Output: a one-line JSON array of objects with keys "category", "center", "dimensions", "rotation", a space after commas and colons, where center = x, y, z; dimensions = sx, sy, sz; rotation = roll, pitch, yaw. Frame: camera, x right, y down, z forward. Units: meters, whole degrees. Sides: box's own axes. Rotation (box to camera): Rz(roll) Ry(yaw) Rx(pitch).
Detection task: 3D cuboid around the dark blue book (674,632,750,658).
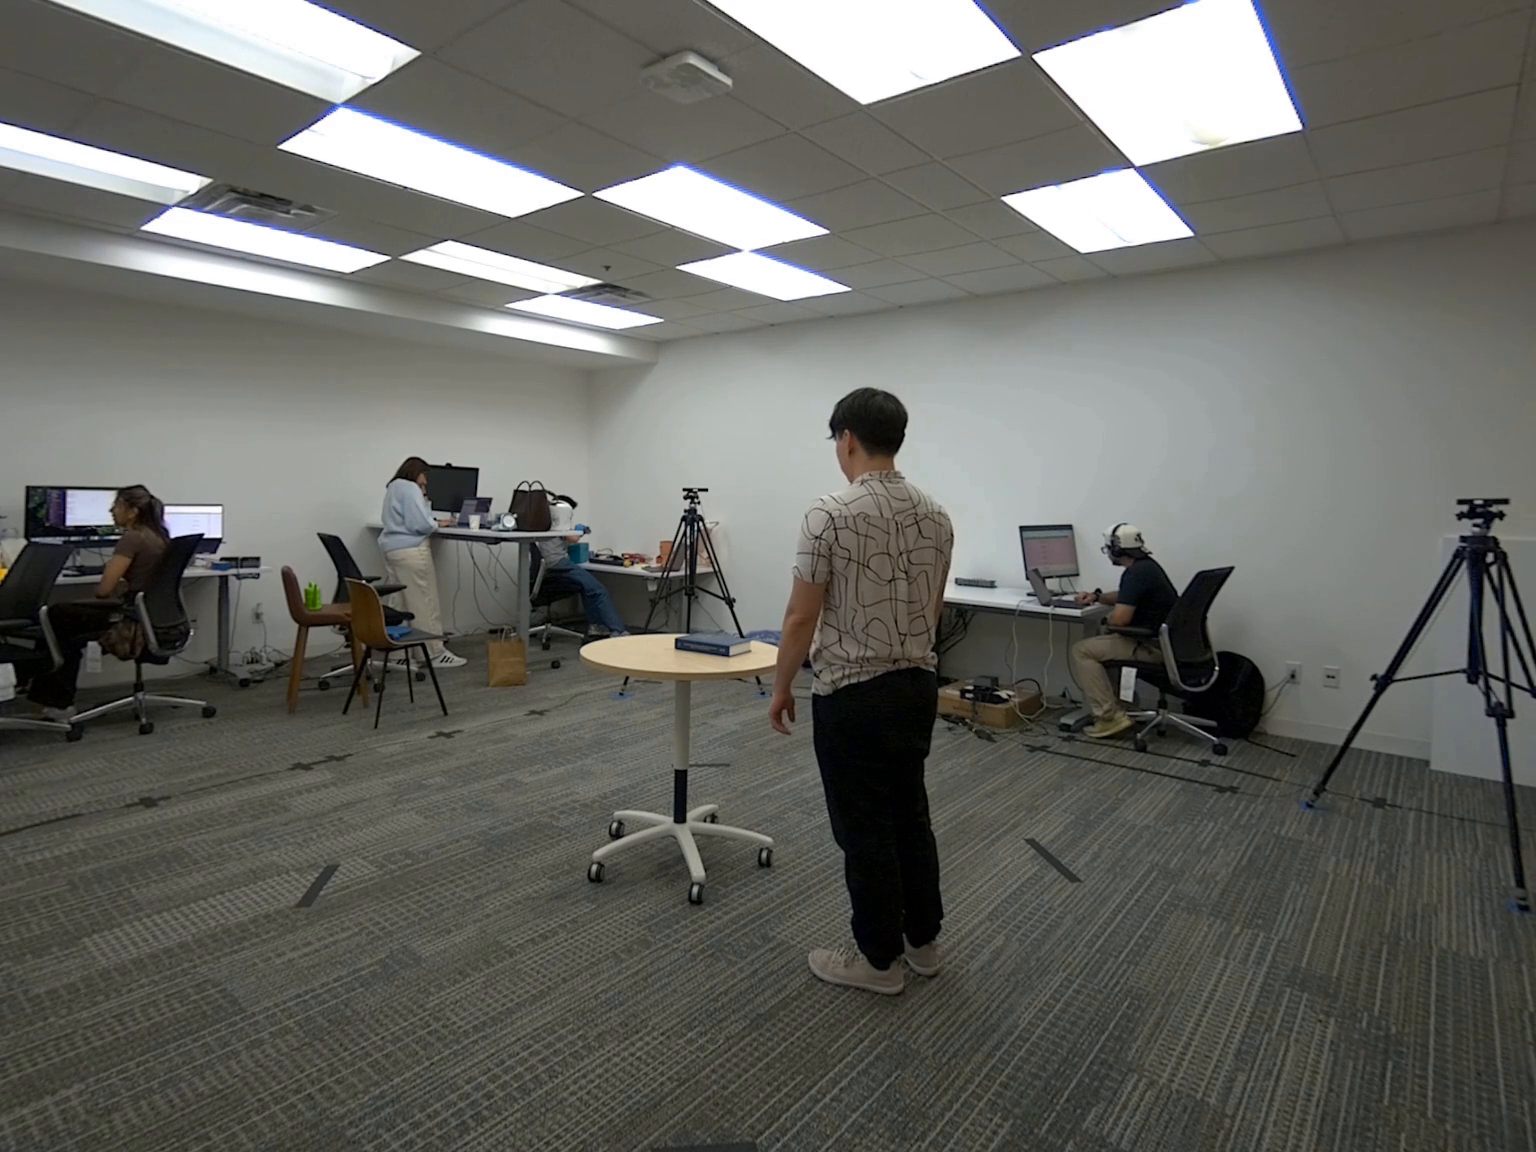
[{"category": "dark blue book", "center": [-0.209, 0.253, 3.203], "dimensions": [0.252, 0.045, 0.159], "rotation": [4, 6, 31]}]
